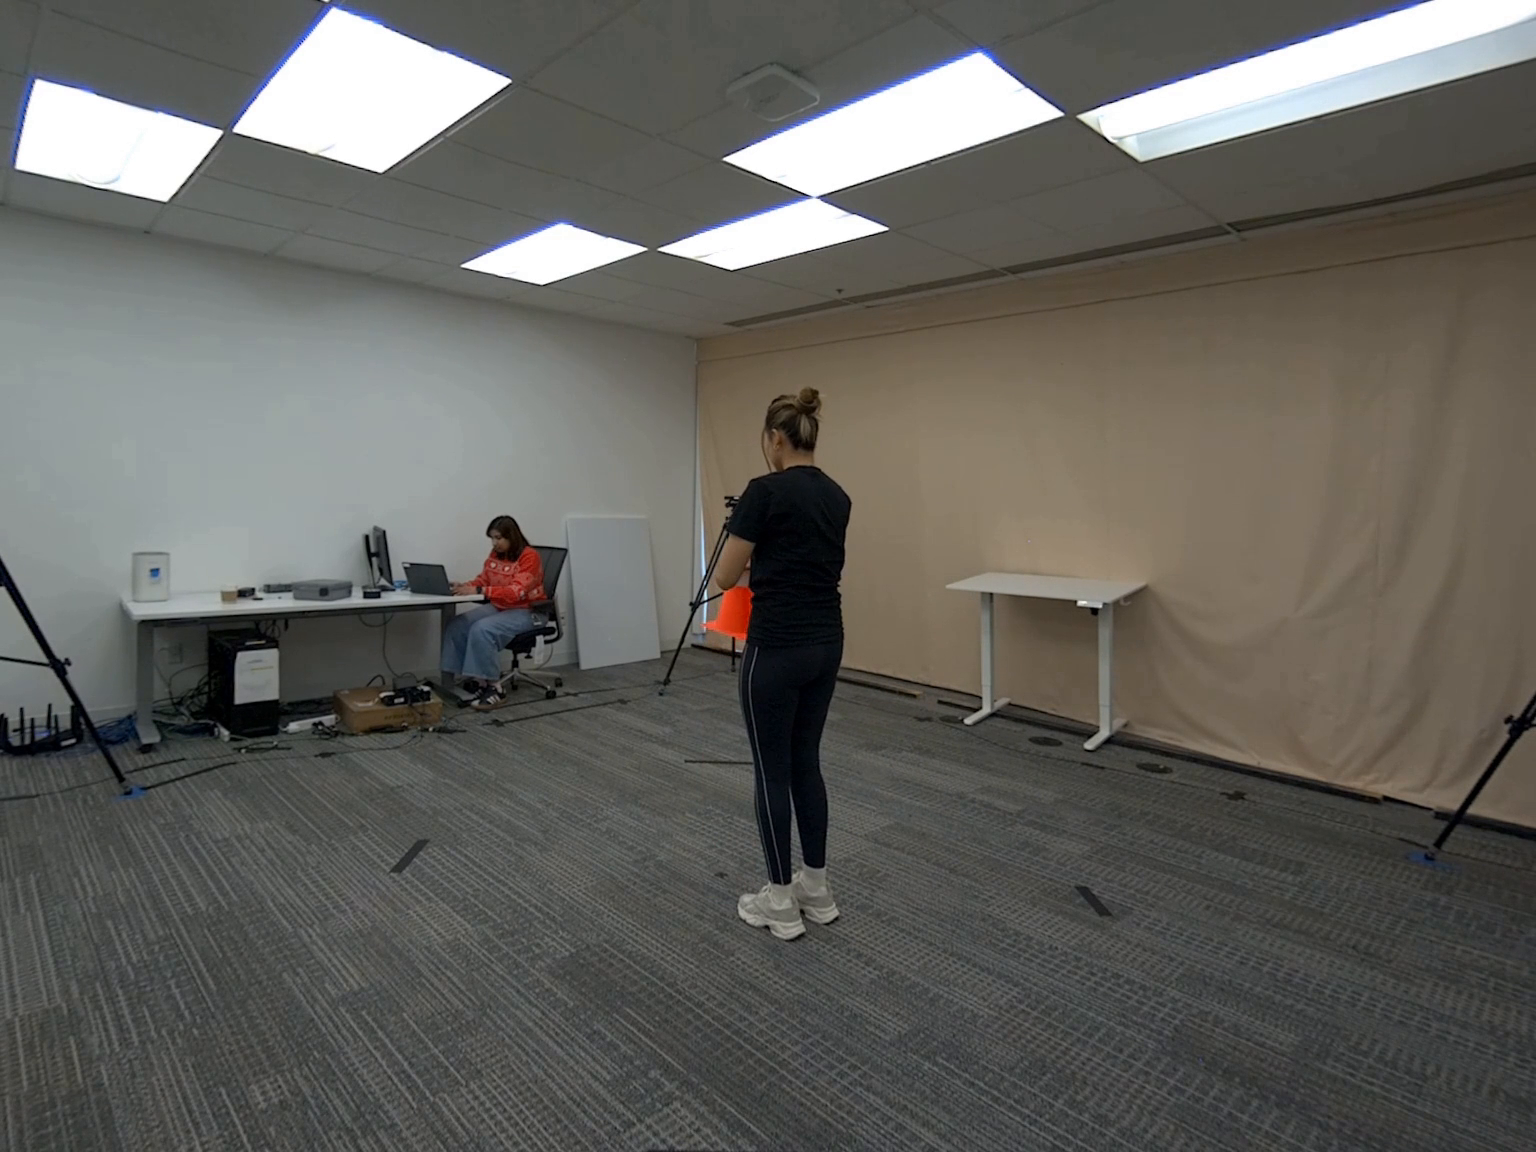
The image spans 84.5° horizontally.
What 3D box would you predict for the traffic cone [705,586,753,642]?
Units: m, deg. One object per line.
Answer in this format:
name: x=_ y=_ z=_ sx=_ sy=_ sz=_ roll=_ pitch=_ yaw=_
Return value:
traffic cone: x=-0.092 y=0.007 z=3.010 sx=0.199 sy=0.381 sz=0.211 roll=-4 pitch=12 yaw=-39
